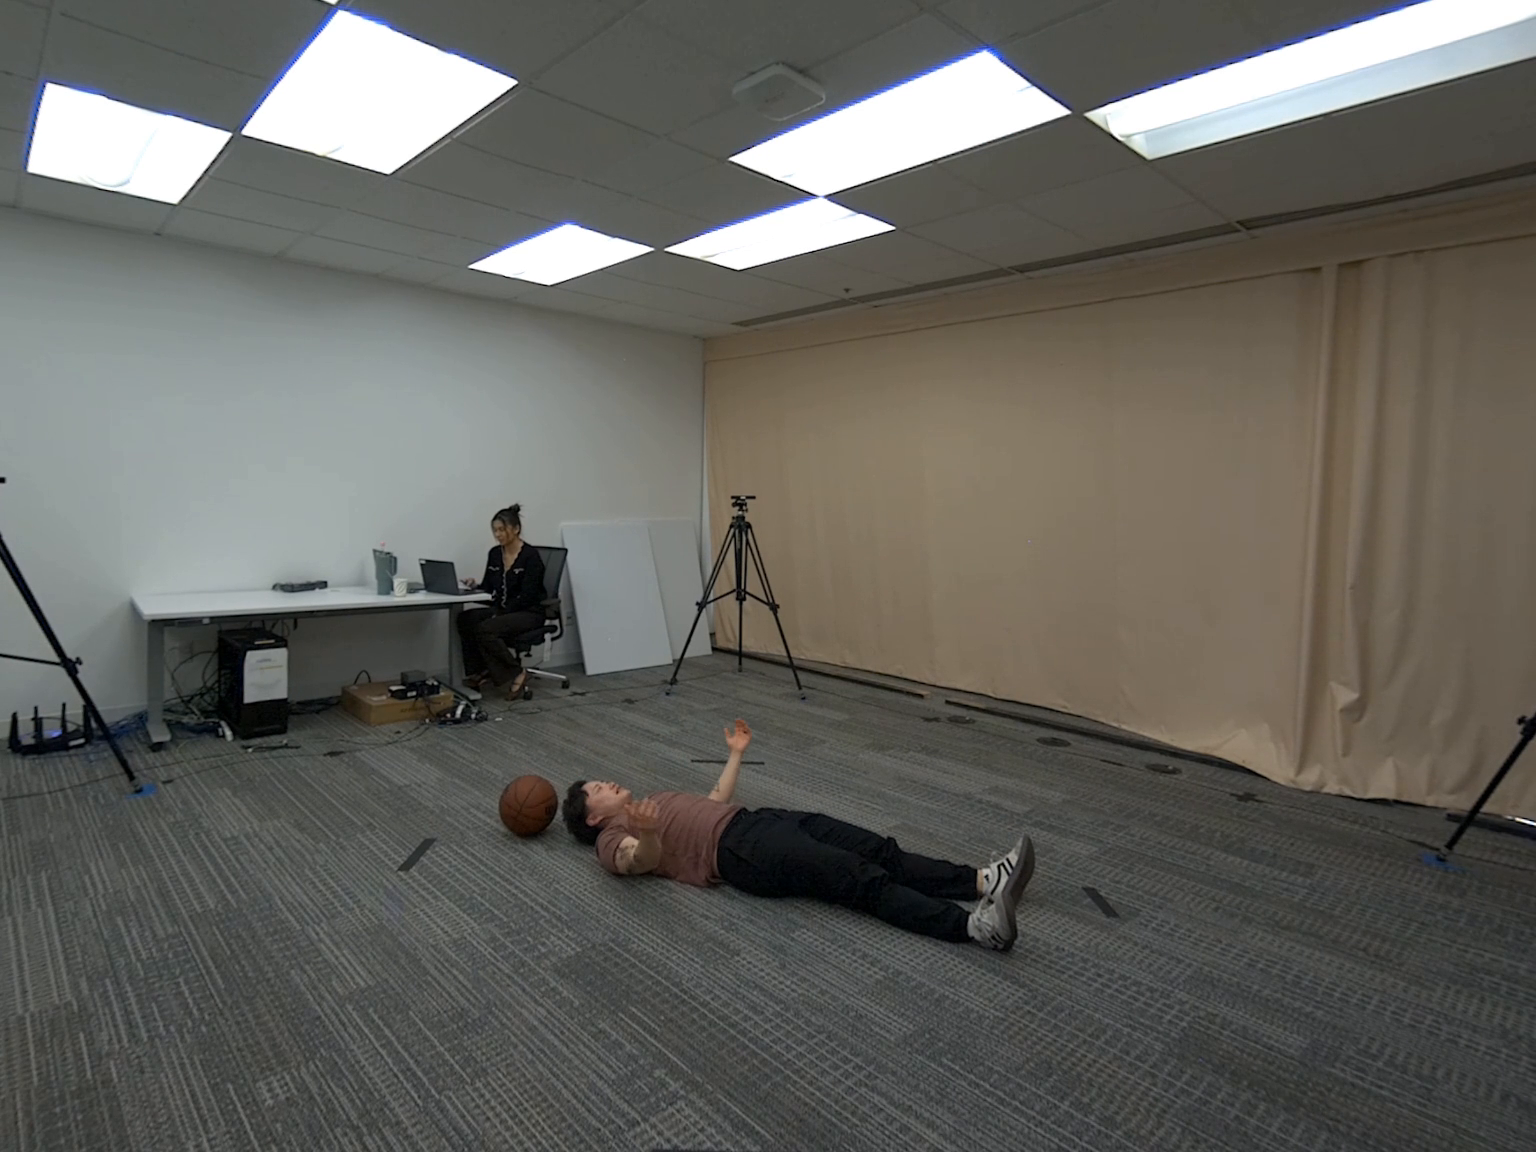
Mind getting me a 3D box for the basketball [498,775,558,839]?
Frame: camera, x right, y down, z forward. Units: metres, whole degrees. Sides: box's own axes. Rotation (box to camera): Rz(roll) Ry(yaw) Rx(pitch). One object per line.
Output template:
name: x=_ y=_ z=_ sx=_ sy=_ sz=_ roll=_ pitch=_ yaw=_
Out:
basketball: x=-0.990 y=0.935 z=3.438 sx=0.236 sy=0.234 sz=0.237 roll=0 pitch=8 yaw=-1
